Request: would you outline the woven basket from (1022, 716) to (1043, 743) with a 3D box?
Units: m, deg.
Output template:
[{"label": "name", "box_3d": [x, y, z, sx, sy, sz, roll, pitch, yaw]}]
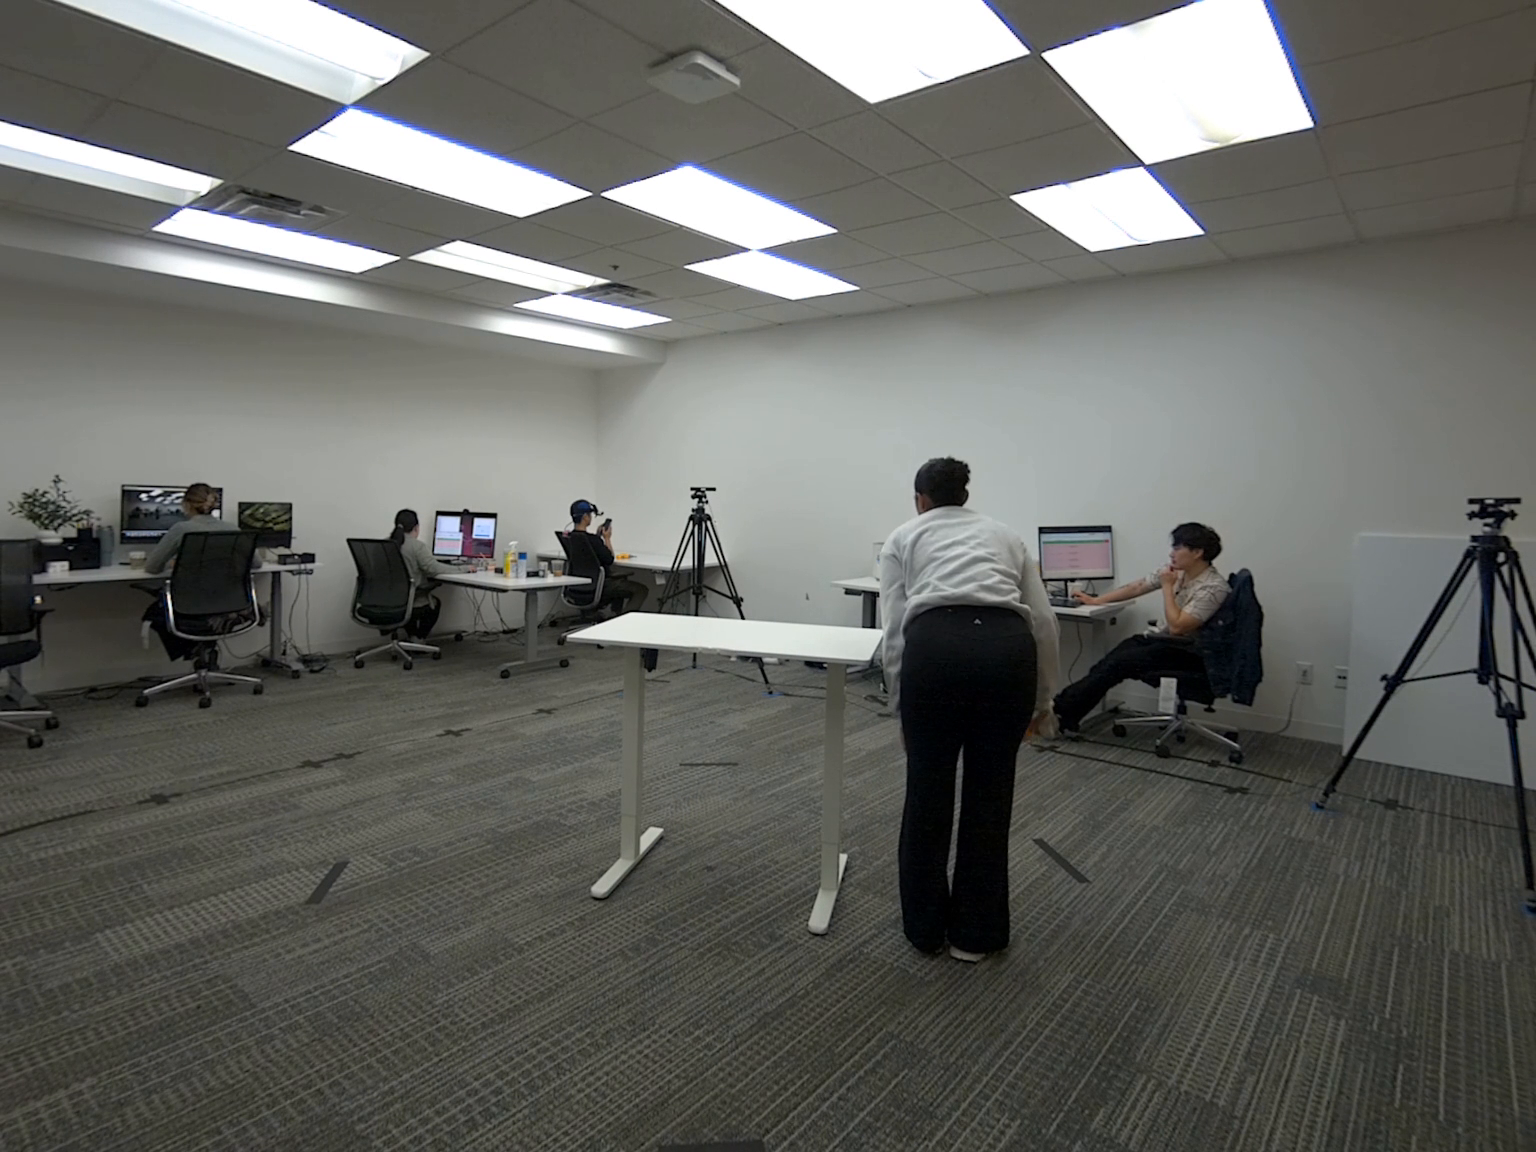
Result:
[{"label": "woven basket", "box_3d": [0.748, 0.520, 2.879, 0.252, 0.074, 0.345, -4, -15, -4]}]
